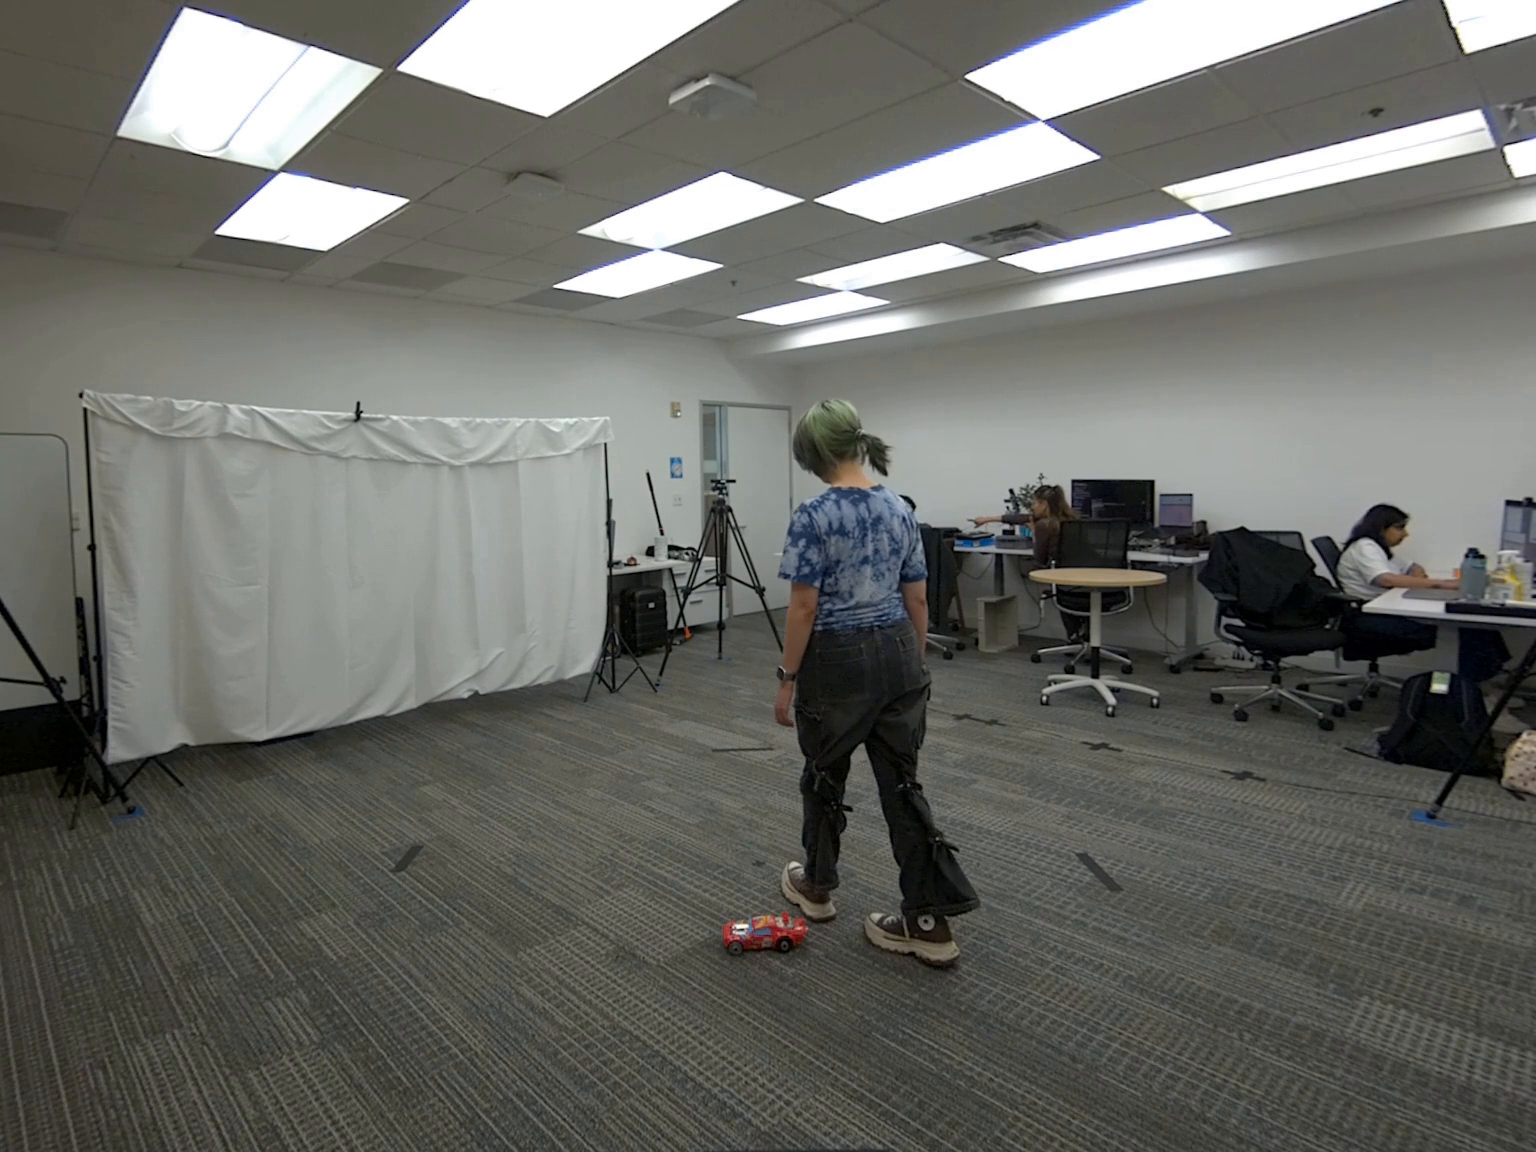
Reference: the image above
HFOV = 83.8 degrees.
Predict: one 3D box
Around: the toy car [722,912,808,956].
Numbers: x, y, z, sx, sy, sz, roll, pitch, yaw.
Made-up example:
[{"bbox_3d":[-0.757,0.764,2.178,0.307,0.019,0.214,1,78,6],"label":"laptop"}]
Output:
[{"bbox_3d":[-0.002,1.079,2.569,0.254,0.083,0.131,-12,6,-1],"label":"toy car"}]
